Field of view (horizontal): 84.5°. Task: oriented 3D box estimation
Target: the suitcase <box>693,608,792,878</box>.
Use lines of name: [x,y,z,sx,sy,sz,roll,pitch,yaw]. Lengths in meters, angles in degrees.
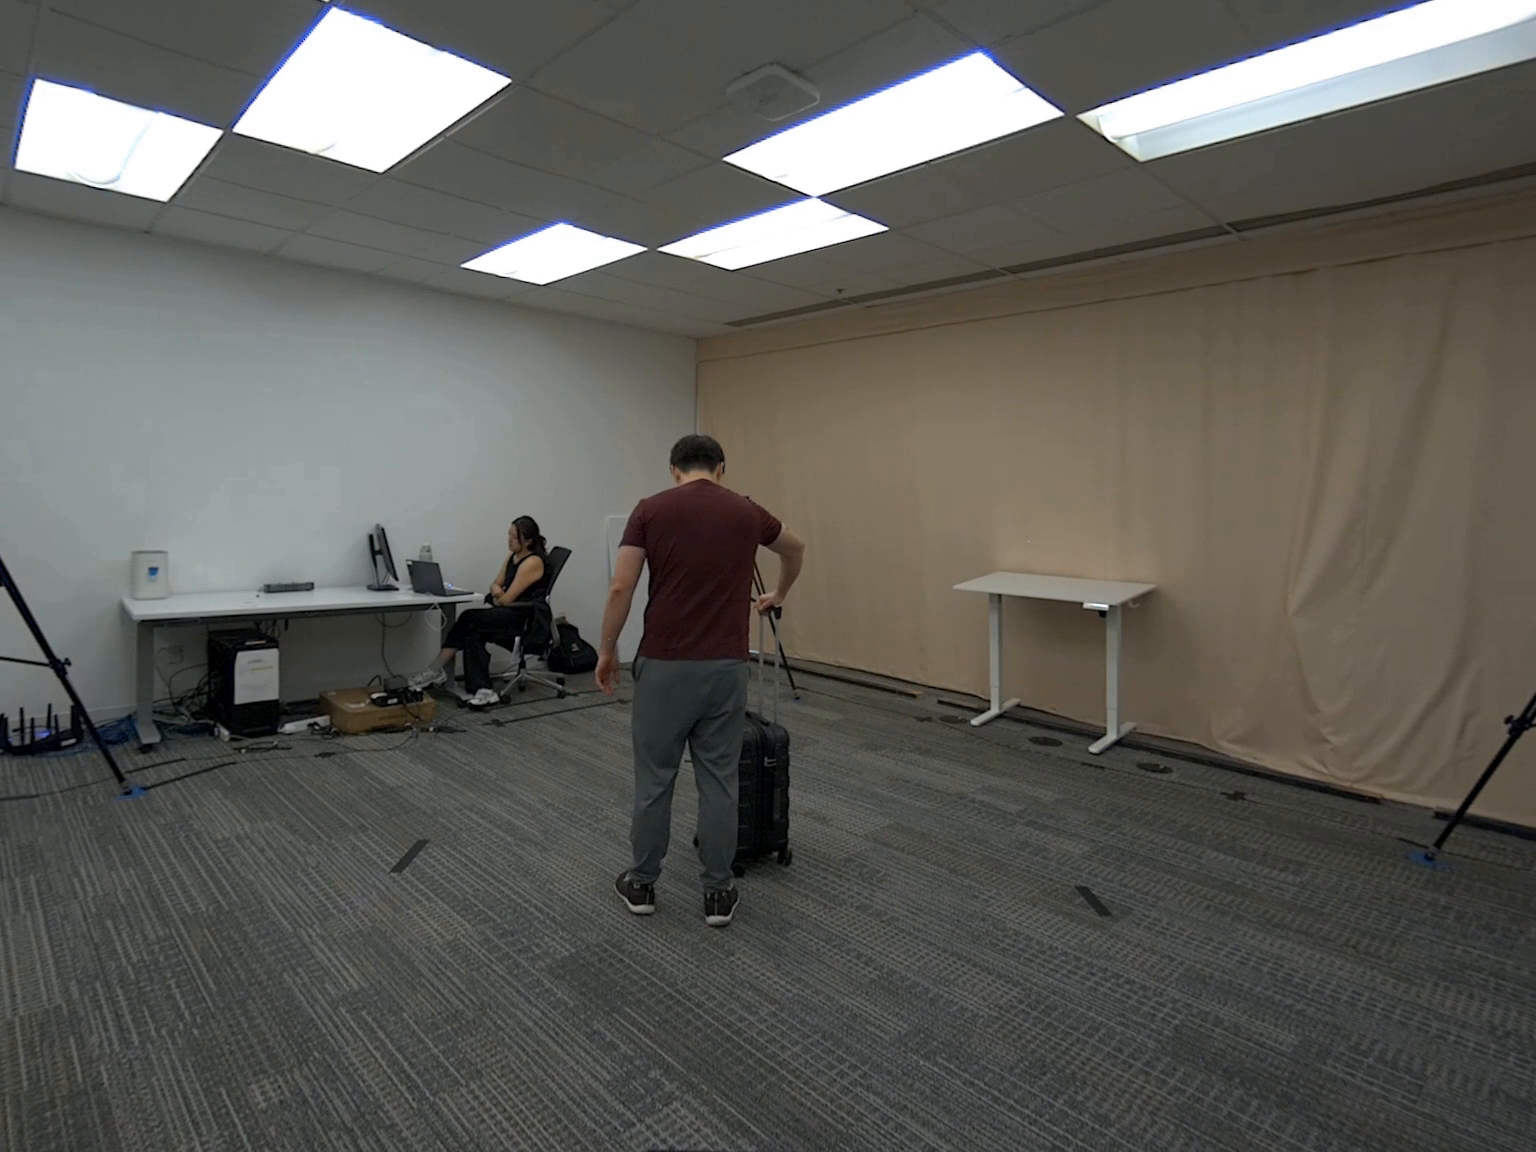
suitcase: [-0.092,0.614,3.252,0.253,0.976,0.391,-1,4,-24]
